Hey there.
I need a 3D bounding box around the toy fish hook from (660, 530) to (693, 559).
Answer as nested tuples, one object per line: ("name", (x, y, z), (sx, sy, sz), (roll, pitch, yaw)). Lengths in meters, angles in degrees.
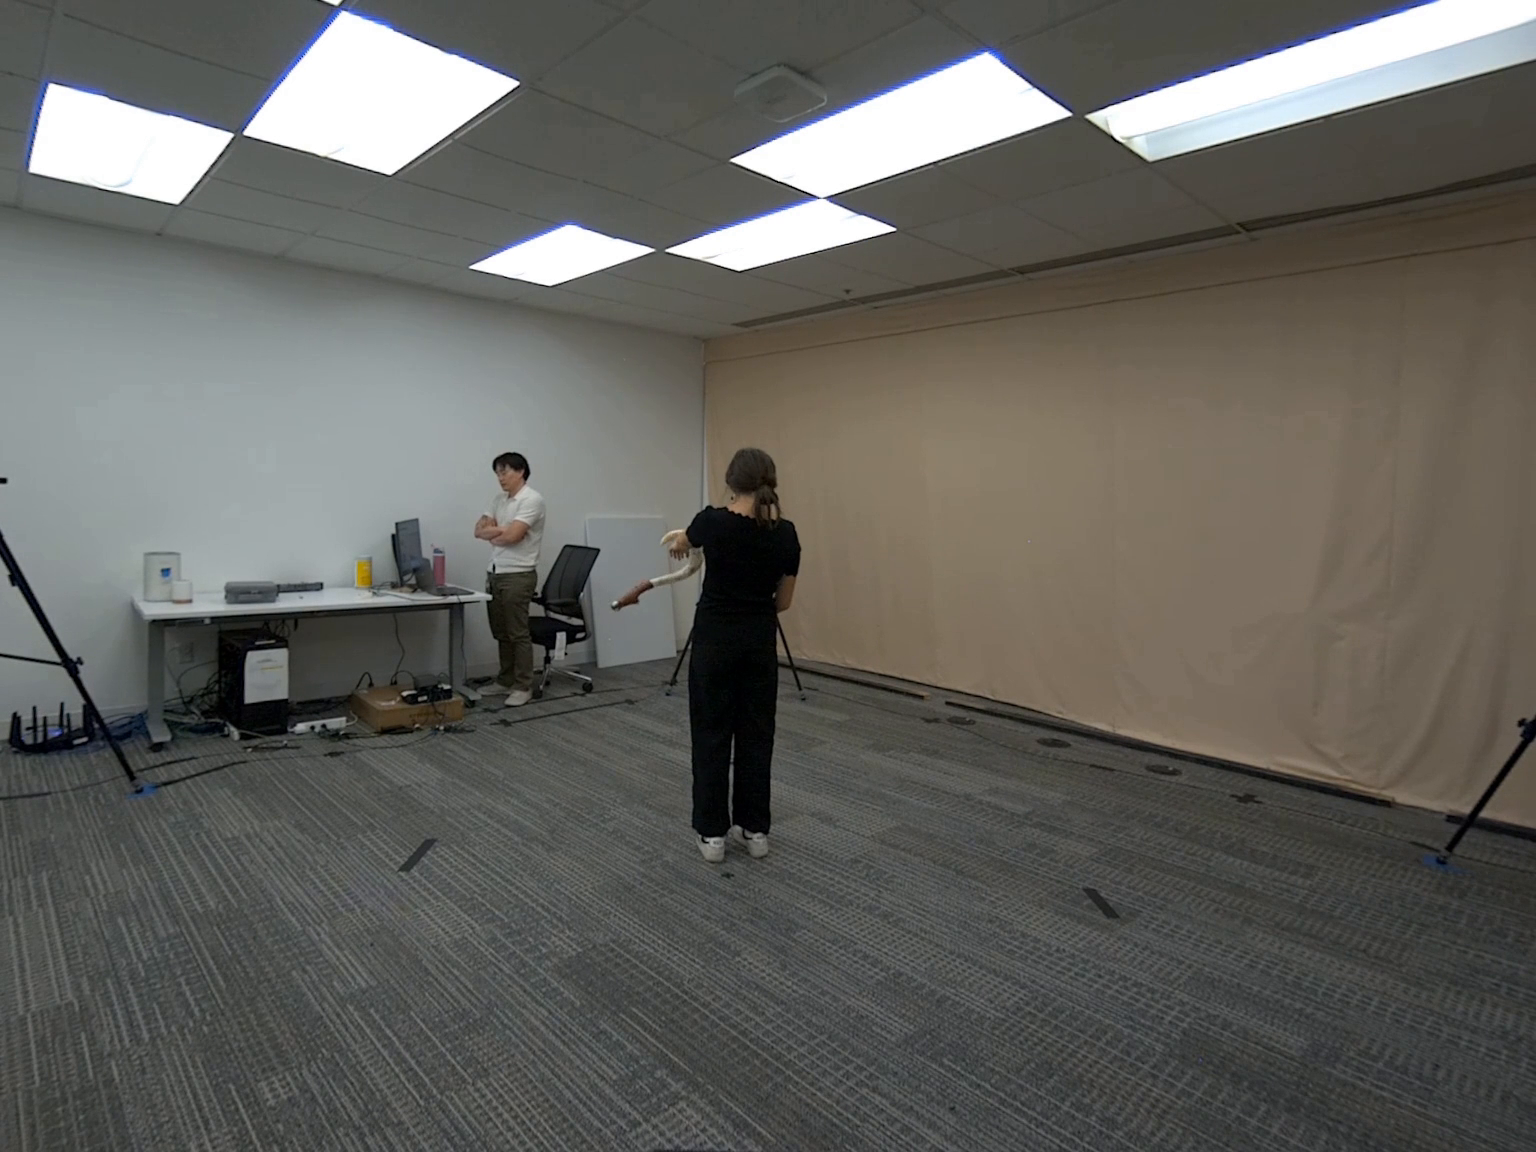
("toy fish hook", (-0.467, -0.027, 3.561), (0.503, 0.221, 0.049), (-34, 19, -30))
